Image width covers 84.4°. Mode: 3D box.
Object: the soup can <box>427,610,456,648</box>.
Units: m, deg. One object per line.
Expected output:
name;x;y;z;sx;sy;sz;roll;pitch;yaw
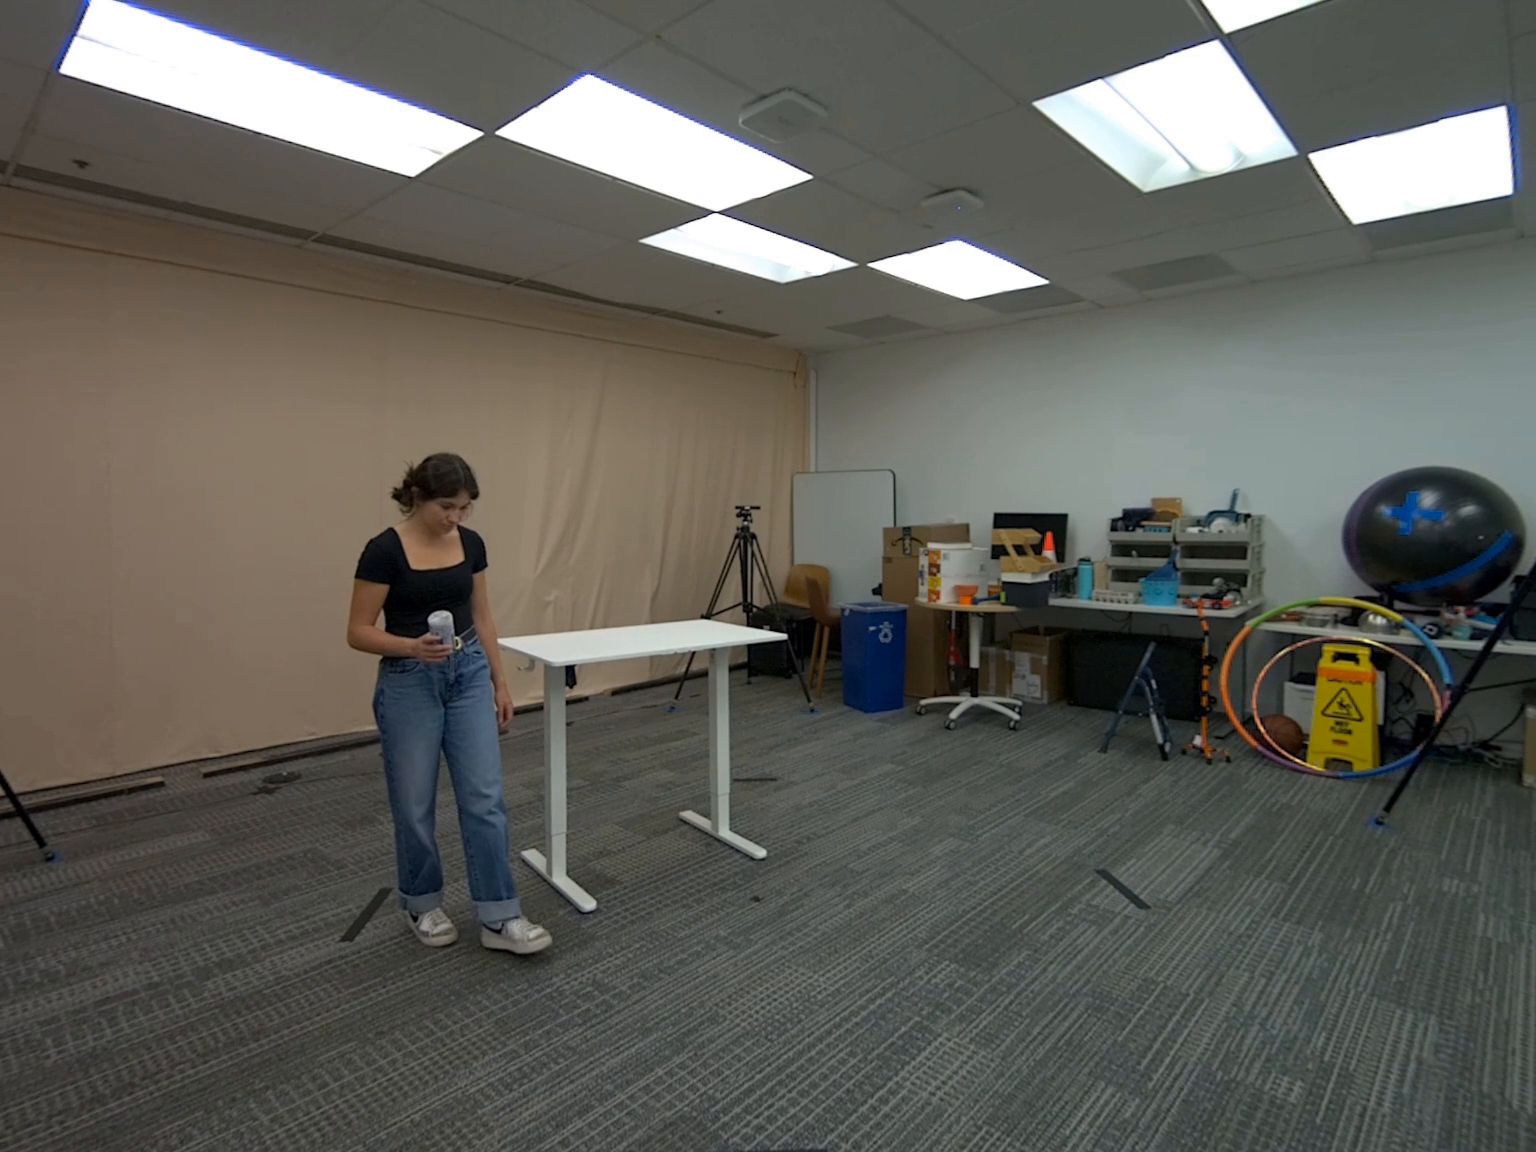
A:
soup can;-0.941;0.167;2.407;0.067;0.120;0.068;1;27;-3
